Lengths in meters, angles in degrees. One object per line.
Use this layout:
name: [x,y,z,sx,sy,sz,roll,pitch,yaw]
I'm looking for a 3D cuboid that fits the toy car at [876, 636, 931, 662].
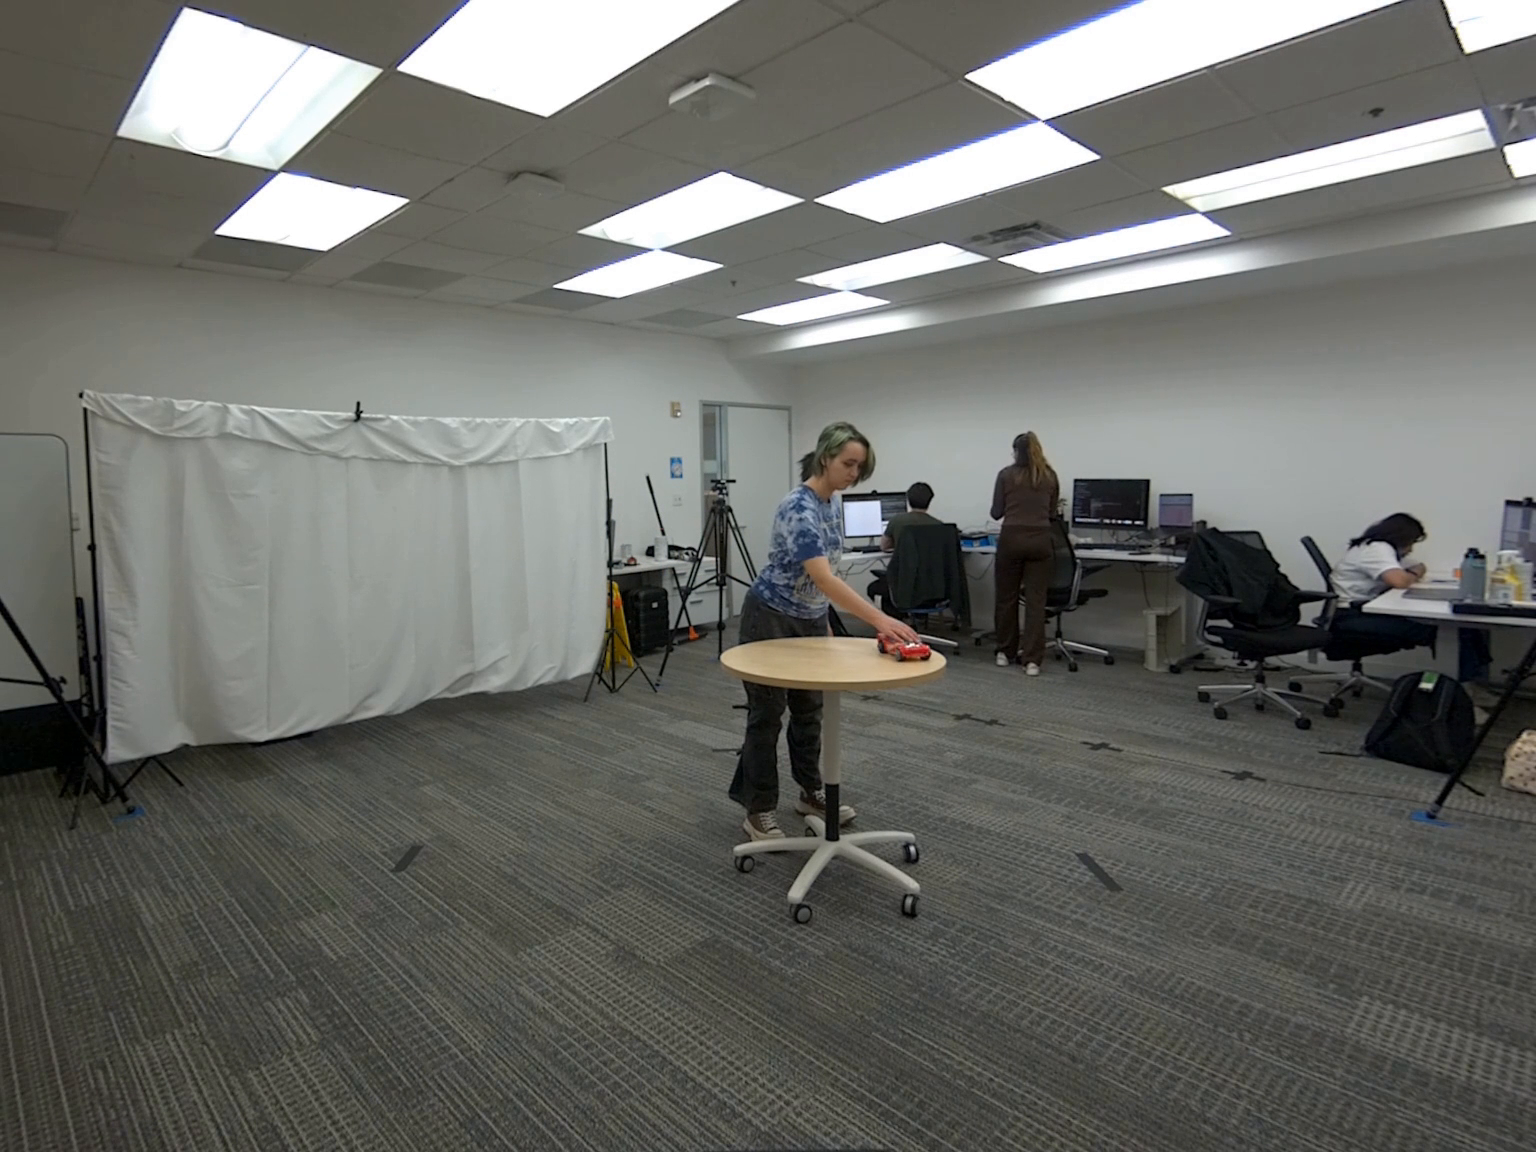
toy car: [0.466,0.243,2.956,0.129,0.082,0.261,-3,17,-13]
